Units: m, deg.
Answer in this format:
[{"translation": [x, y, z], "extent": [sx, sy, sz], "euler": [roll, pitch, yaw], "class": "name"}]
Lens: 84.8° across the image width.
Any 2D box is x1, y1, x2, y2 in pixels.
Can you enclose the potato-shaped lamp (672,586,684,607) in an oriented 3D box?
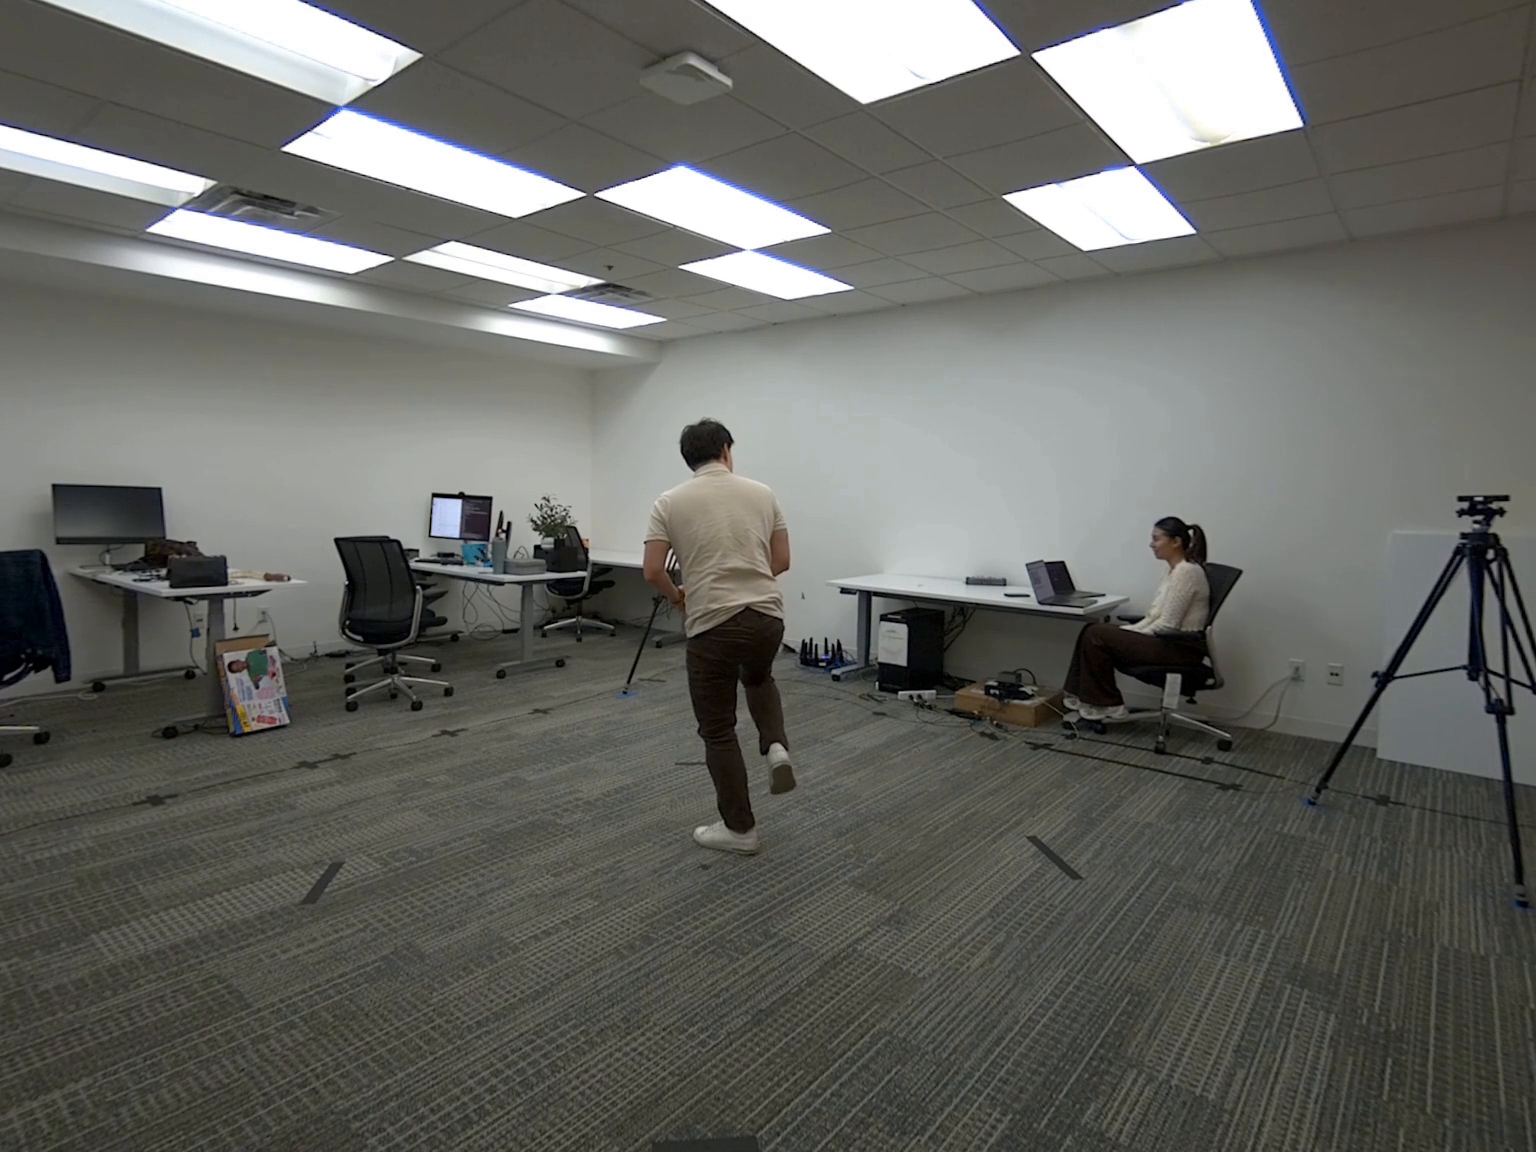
[{"translation": [-0.274, 0.037, 3.445], "extent": [0.165, 0.198, 0.171], "euler": [-1, 1, 0], "class": "potato-shaped lamp"}]
